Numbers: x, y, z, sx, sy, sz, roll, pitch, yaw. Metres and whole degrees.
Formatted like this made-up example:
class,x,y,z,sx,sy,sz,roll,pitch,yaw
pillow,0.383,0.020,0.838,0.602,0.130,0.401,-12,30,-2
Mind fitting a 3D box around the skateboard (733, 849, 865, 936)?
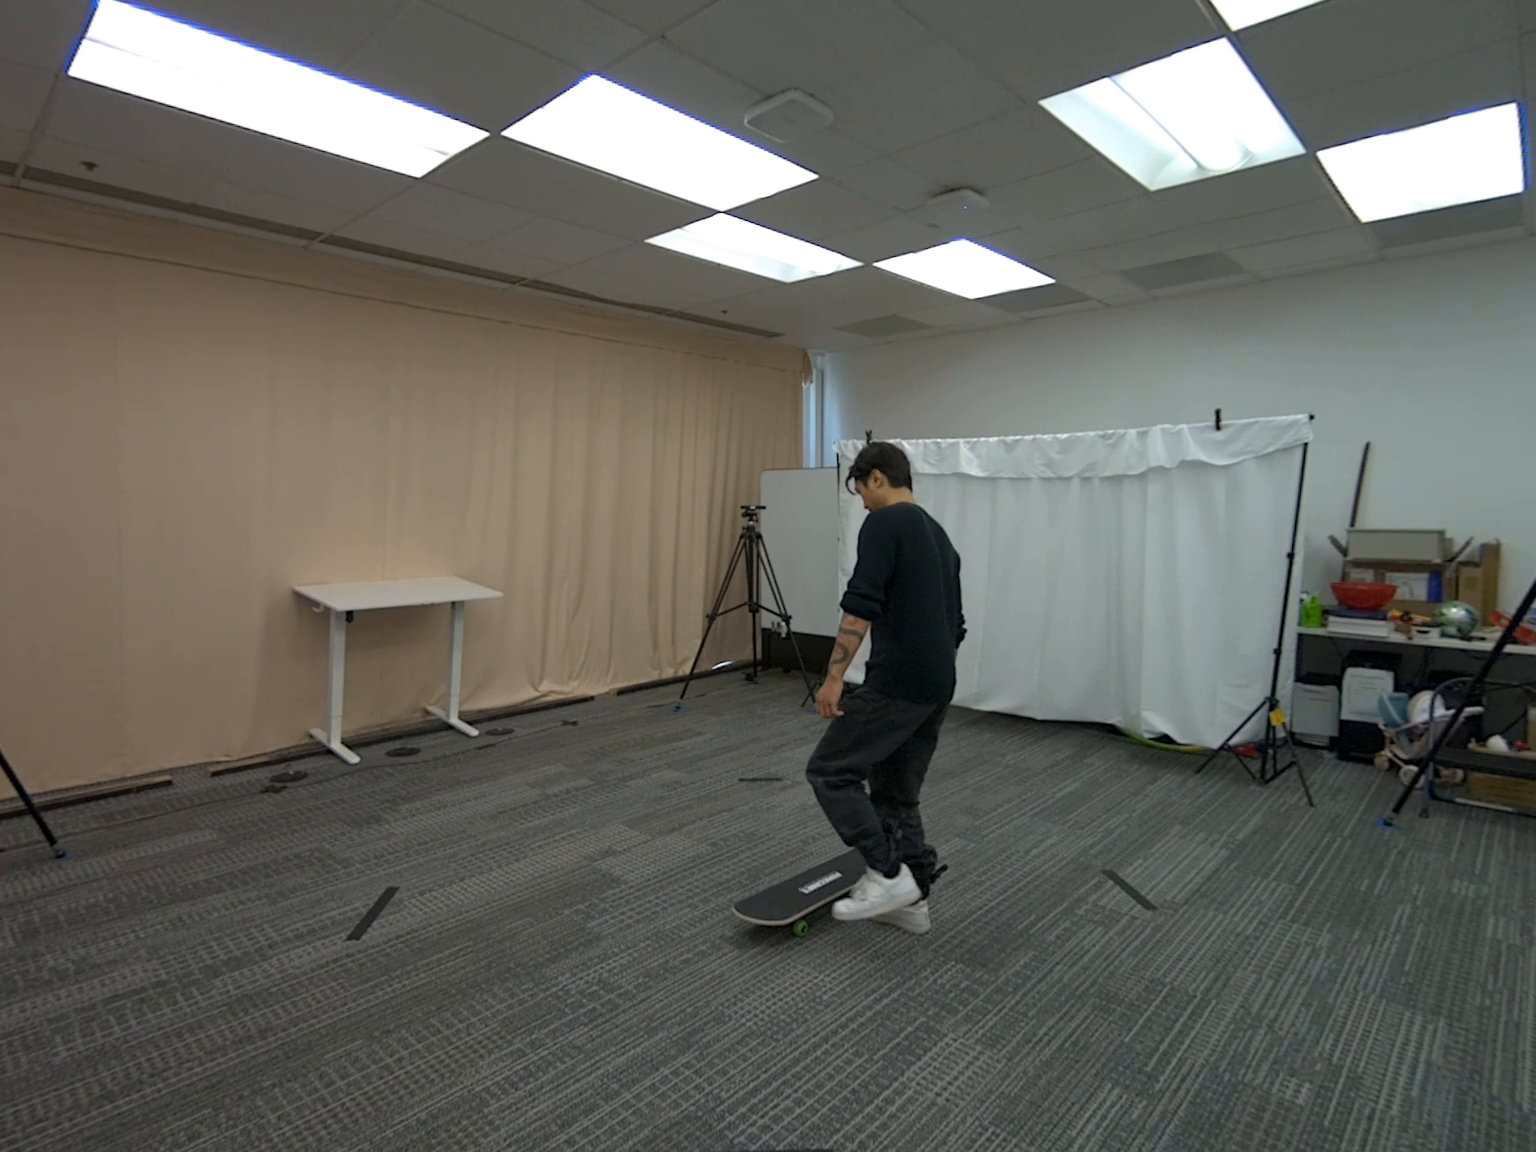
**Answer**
class,x,y,z,sx,sy,sz,roll,pitch,yaw
skateboard,0.188,1.092,2.914,0.761,0.110,0.200,-5,6,-45
